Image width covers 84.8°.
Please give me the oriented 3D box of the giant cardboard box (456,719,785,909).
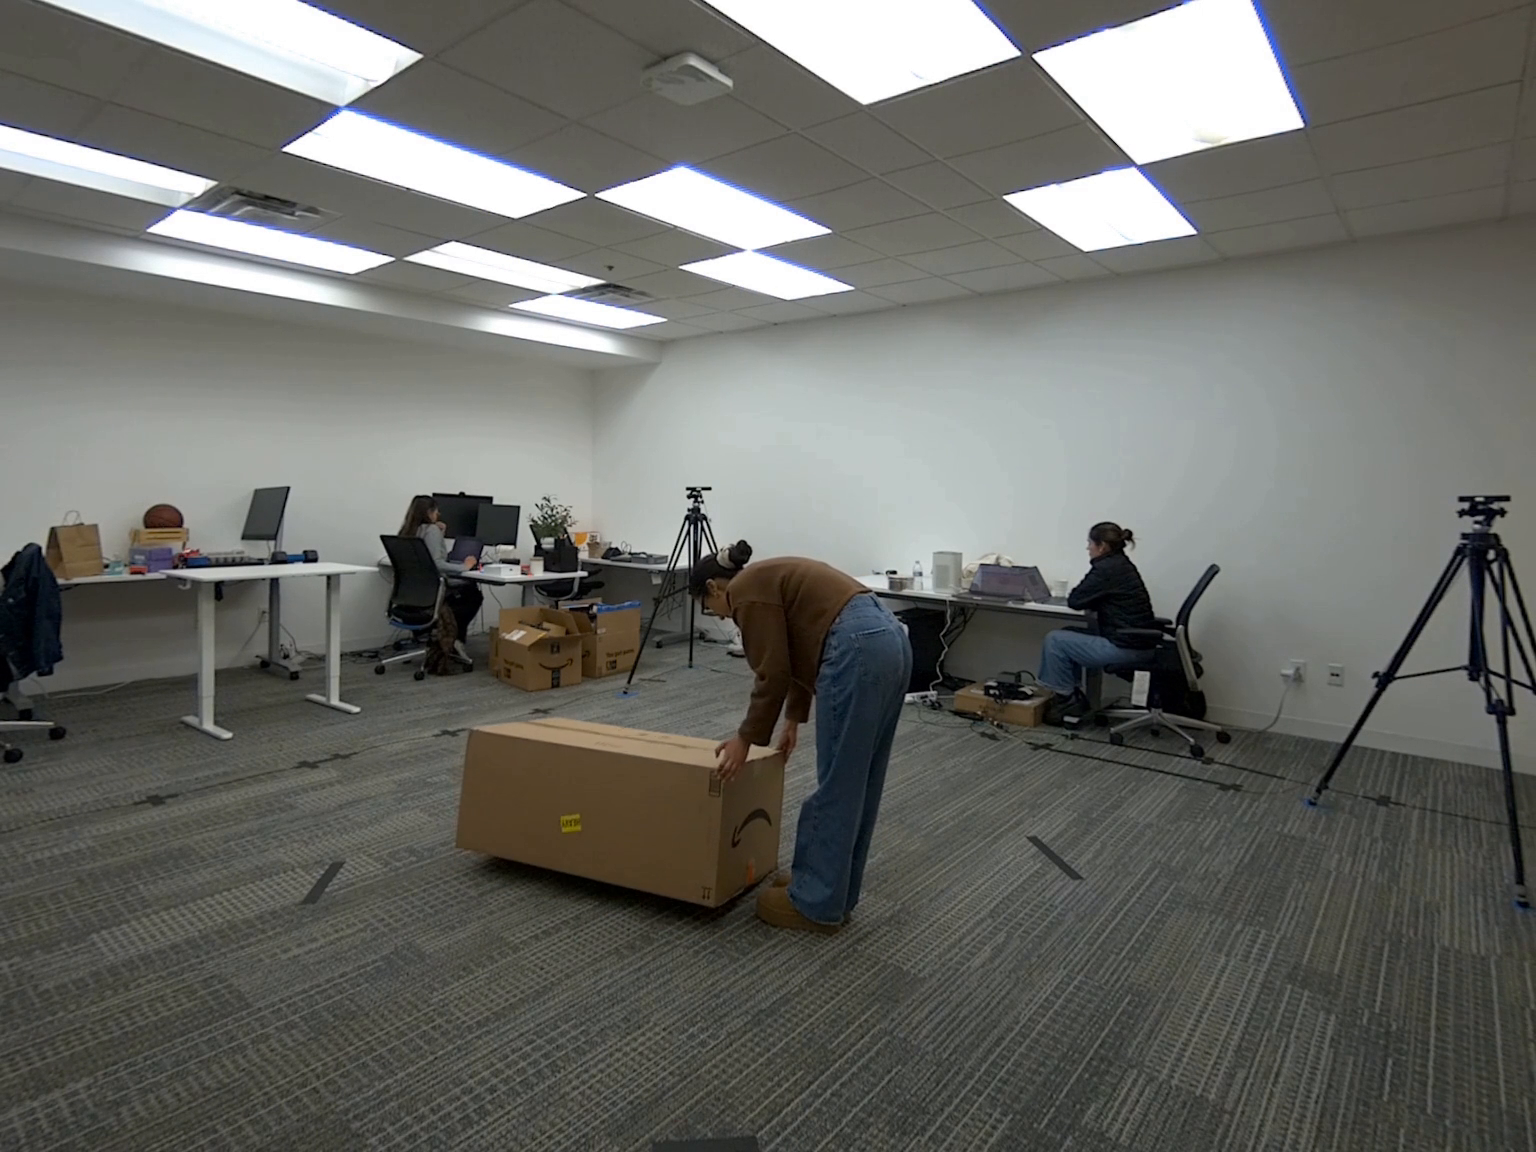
[{"bbox_3d":[-0.543,0.812,3.110,1.052,0.448,0.568,3,-3,23],"label":"giant cardboard box"}]
